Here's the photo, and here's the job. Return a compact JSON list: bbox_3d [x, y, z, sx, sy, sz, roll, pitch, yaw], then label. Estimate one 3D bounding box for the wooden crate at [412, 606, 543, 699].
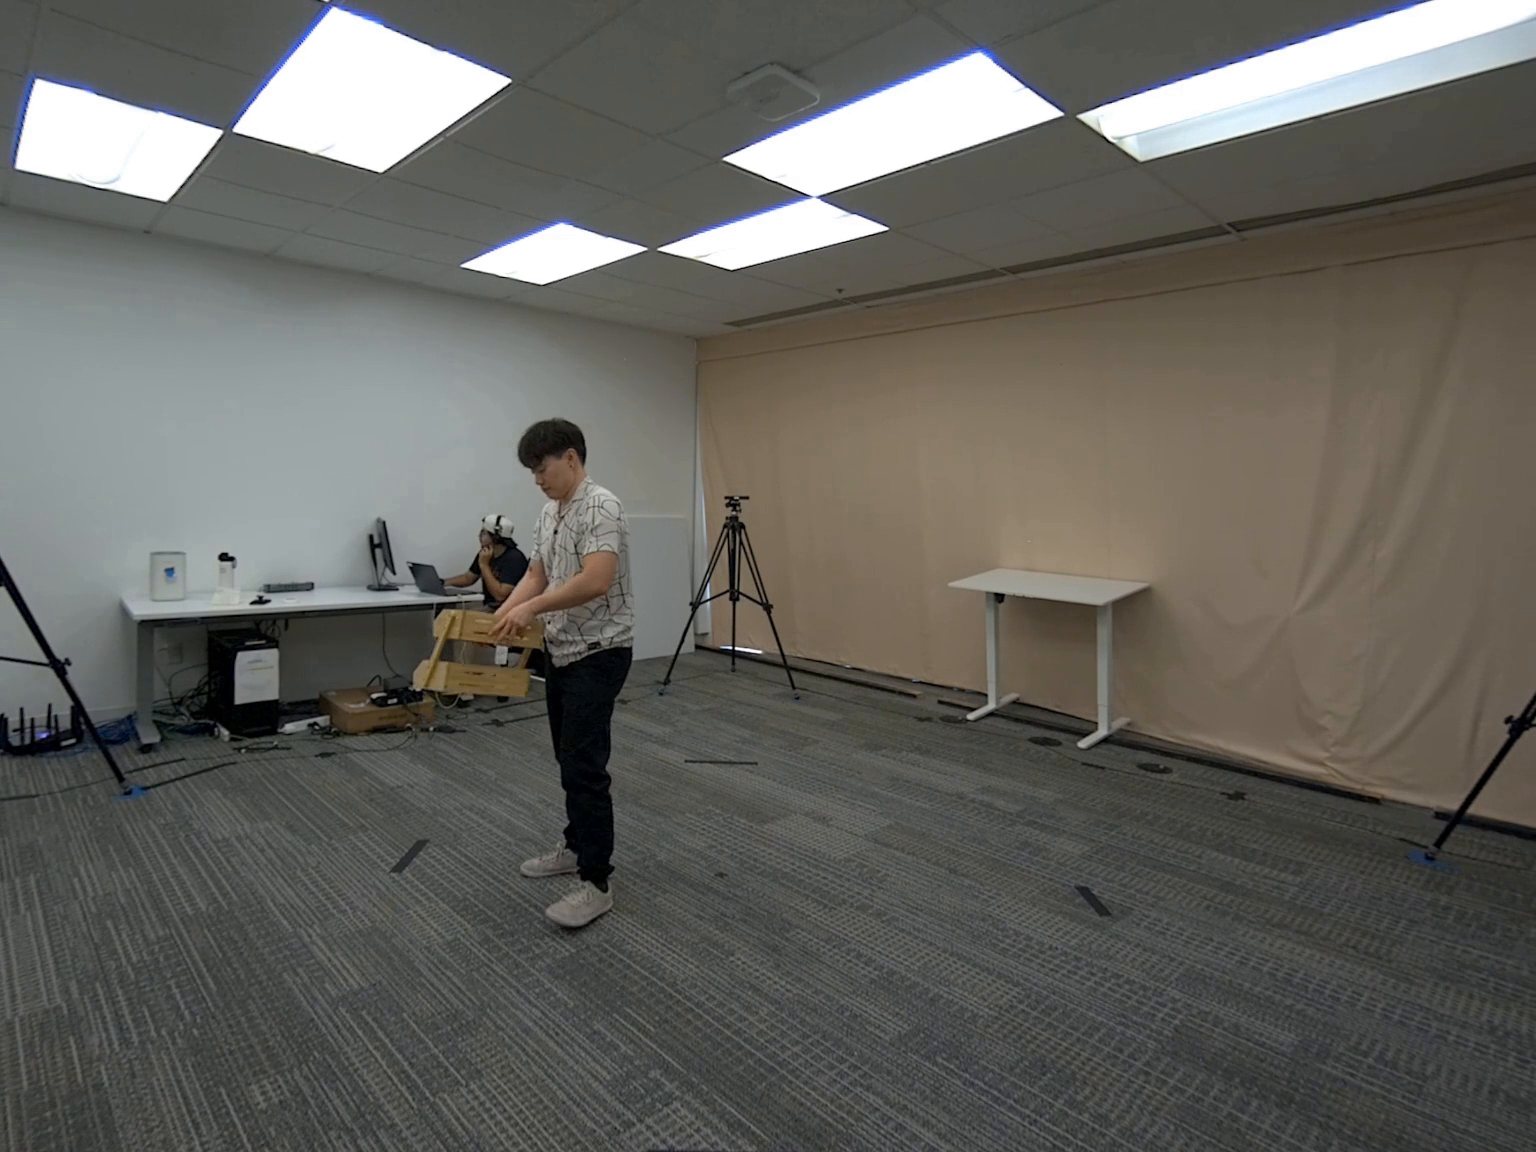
[{"bbox_3d":[-0.986,0.261,2.839,0.315,0.275,0.309,14,-11,-43],"label":"wooden crate"}]
